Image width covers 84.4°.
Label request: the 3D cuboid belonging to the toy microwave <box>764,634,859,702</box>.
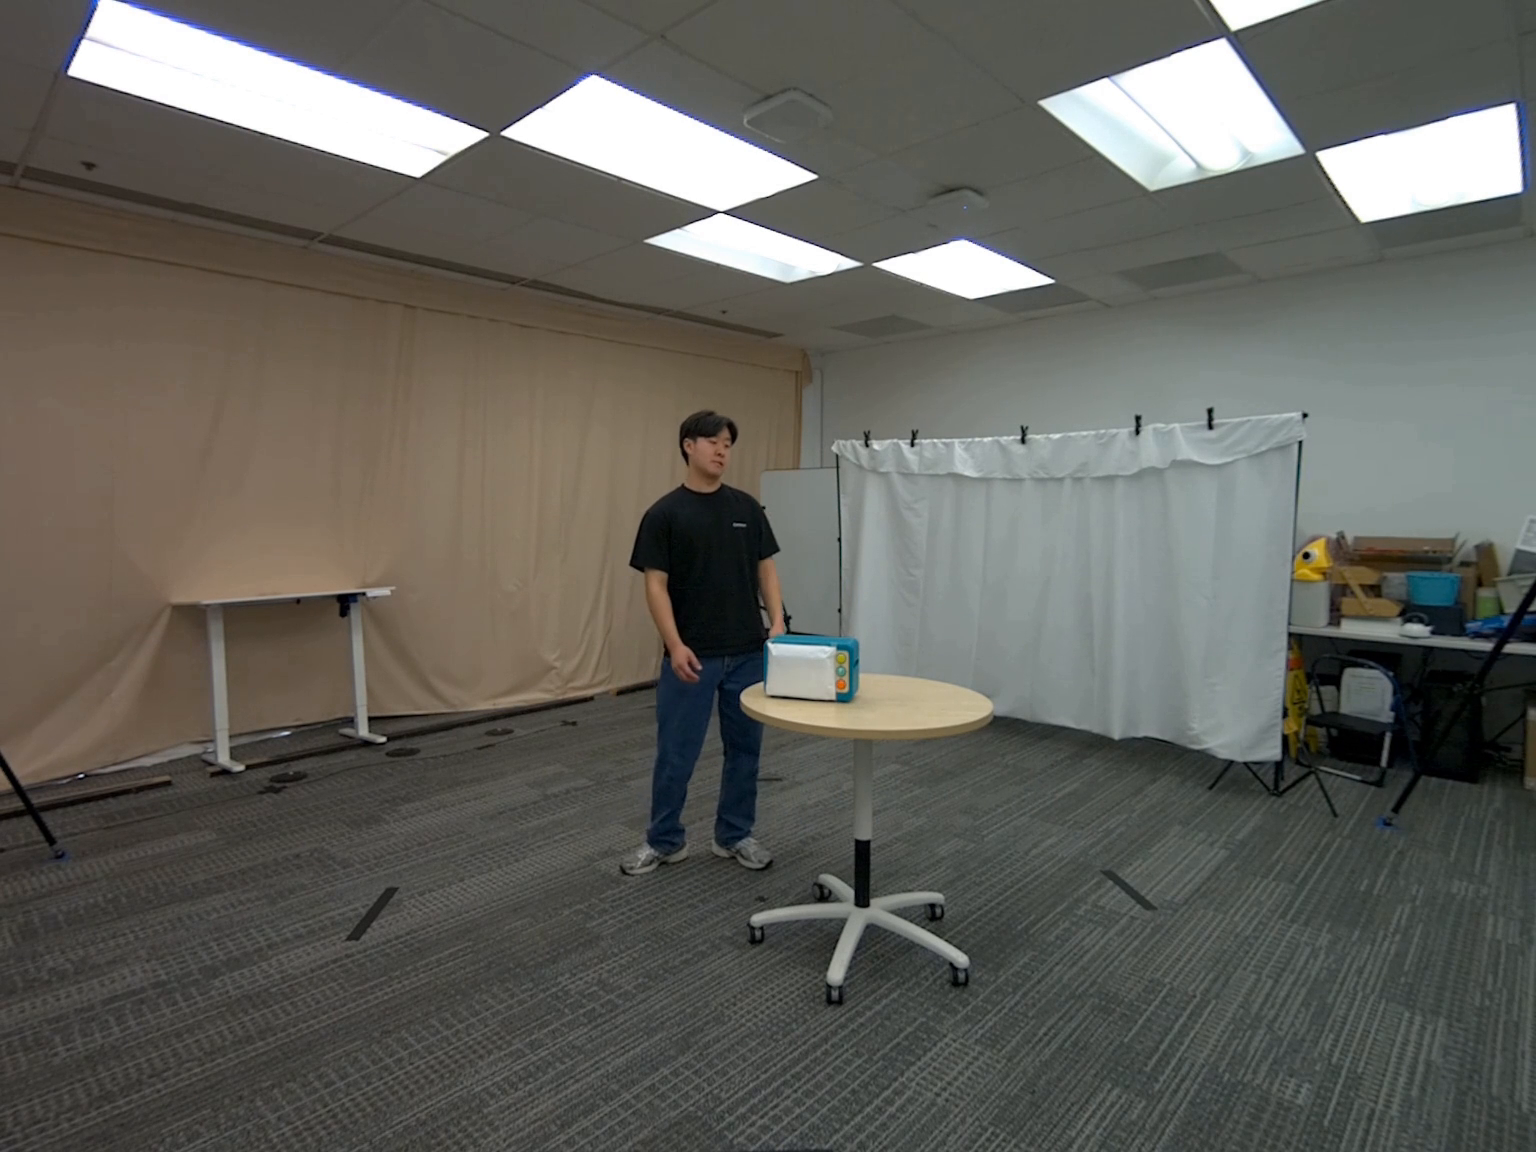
[{"bbox_3d":[0.137,0.285,2.610,0.291,0.184,0.150,1,4,15],"label":"toy microwave"}]
